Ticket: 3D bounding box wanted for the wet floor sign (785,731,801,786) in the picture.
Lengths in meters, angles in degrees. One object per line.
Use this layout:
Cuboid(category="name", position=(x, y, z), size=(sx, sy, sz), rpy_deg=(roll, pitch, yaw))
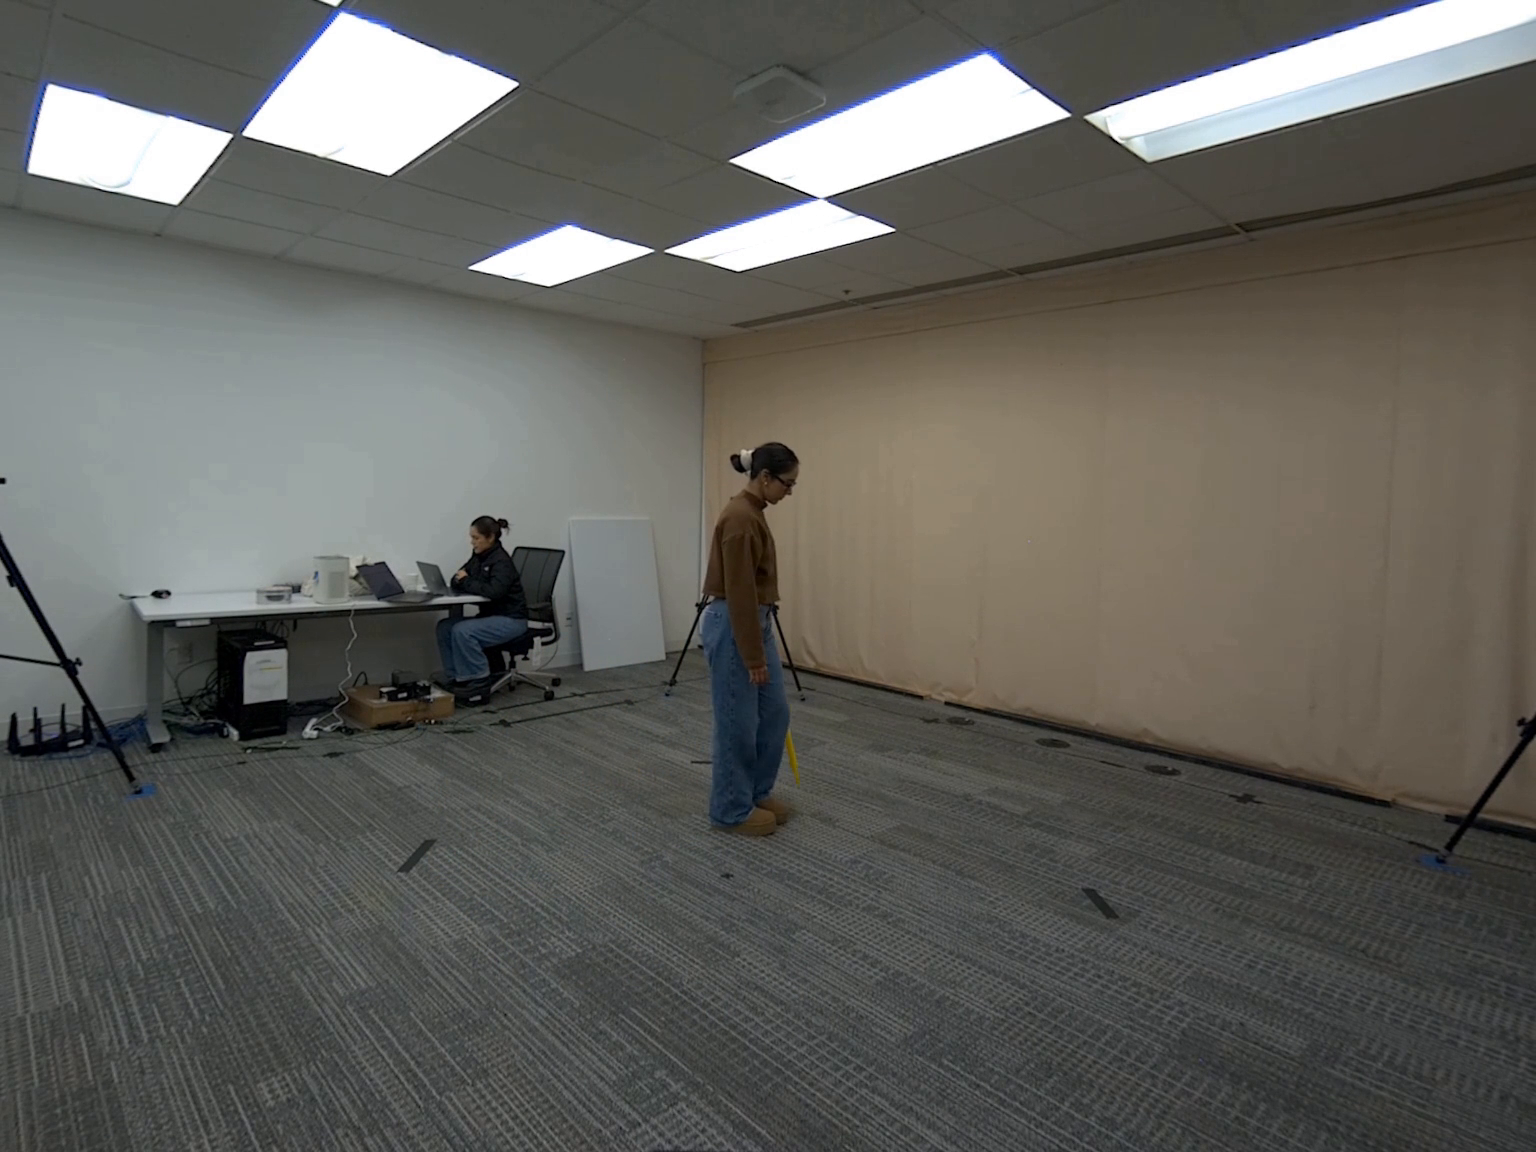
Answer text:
Cuboid(category="wet floor sign", position=(-0.008, 0.607, 3.827), size=(0.289, 0.644, 0.284), rpy_deg=(-1, 5, -3))
